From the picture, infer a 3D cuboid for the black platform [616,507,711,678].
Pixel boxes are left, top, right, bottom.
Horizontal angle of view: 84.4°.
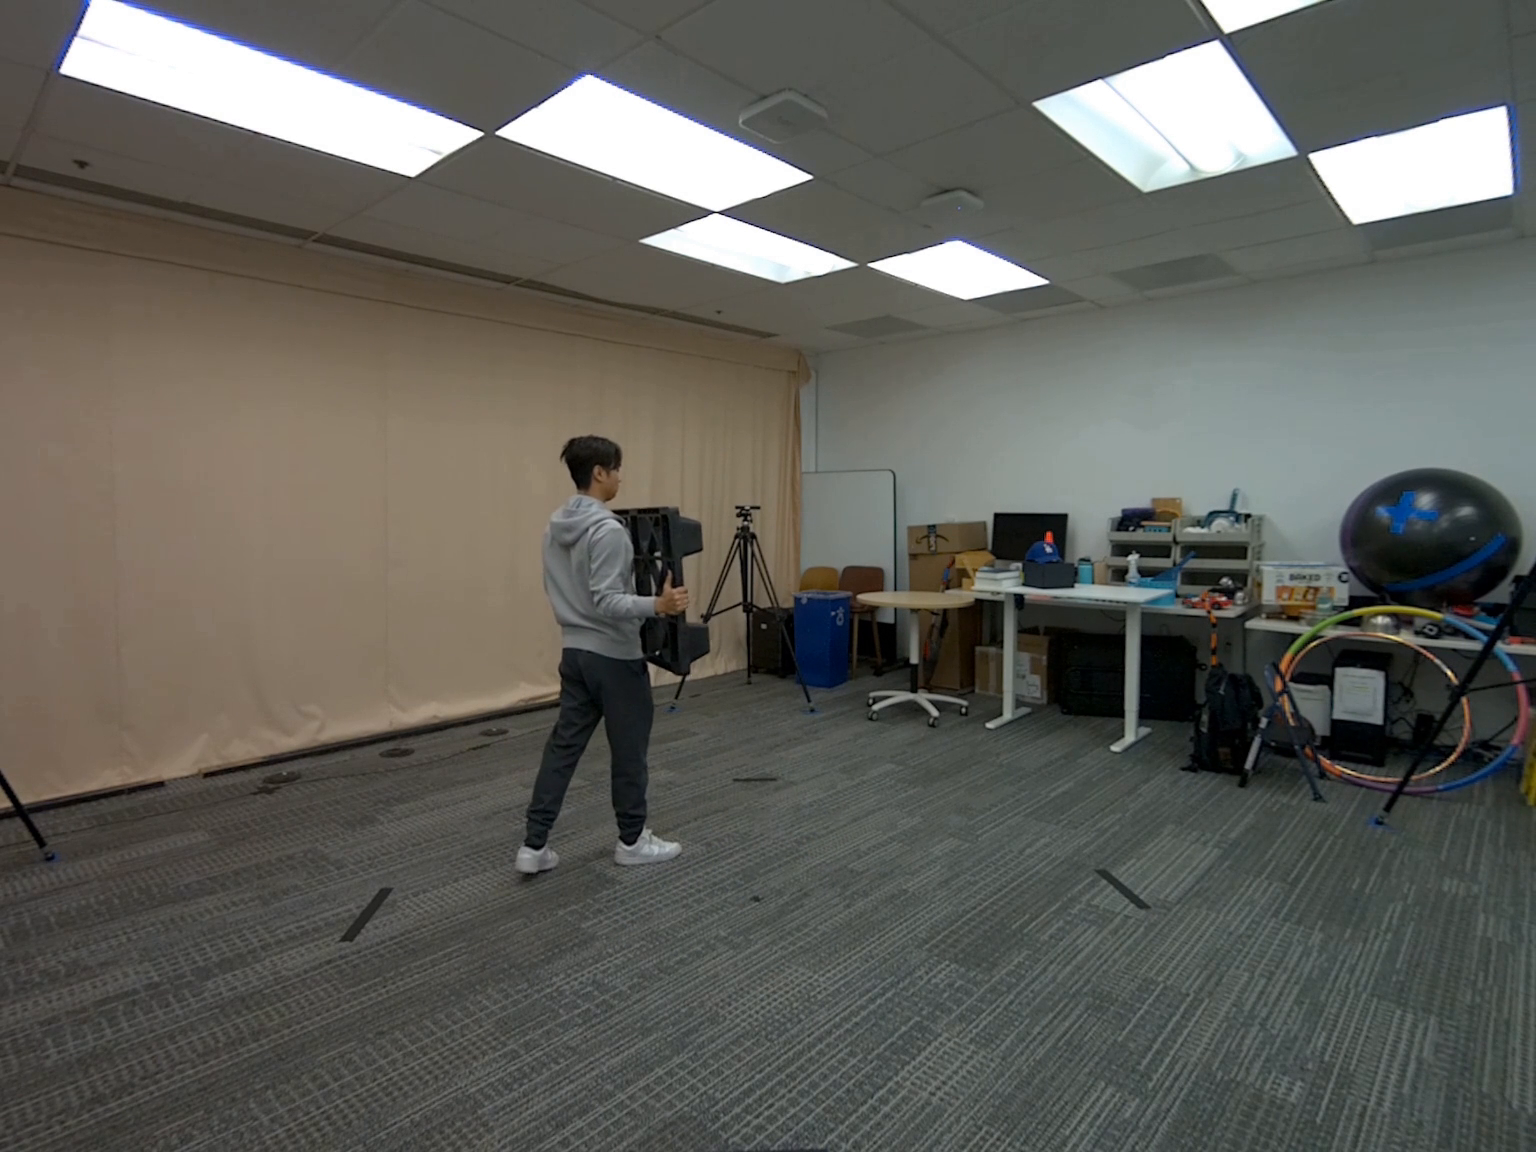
[{"bbox_3d":[-0.443,0.034,3.312,0.140,0.603,0.826,-6,5,-26],"label":"black platform"}]
